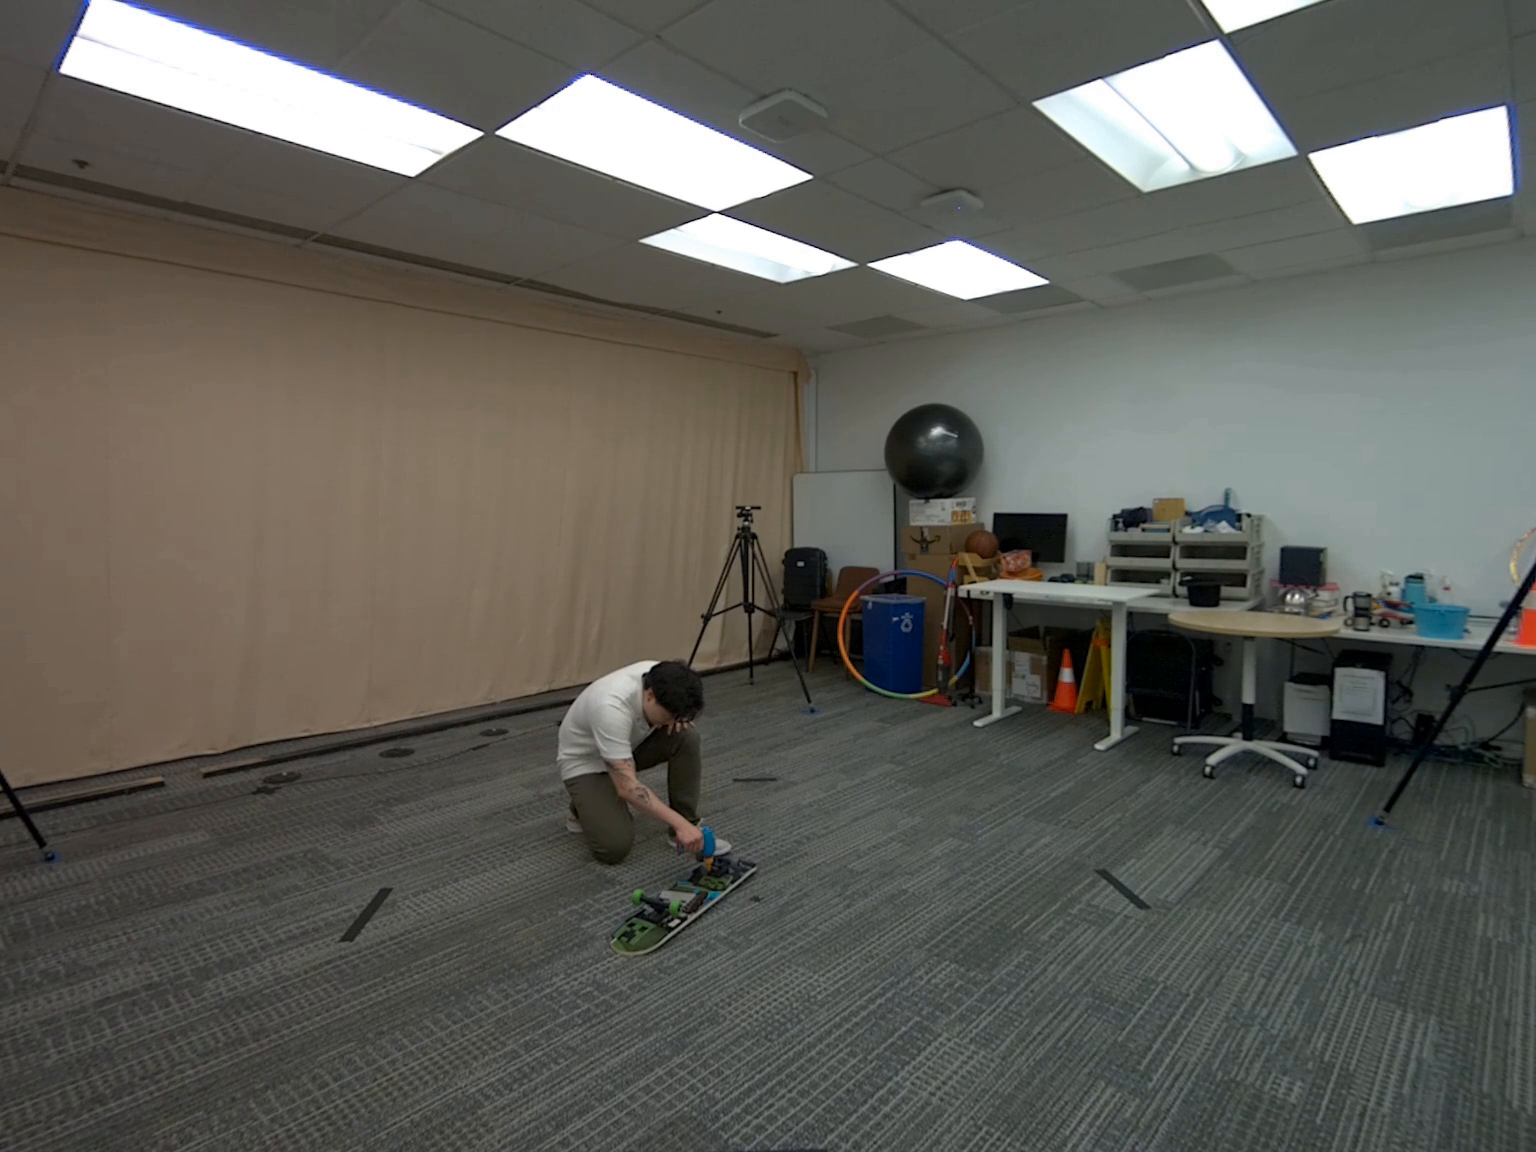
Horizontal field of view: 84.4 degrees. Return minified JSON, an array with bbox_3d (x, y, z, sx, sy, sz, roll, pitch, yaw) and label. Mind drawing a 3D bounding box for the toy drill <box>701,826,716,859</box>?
[{"bbox_3d":[-0.252,1.009,3.092,0.145,0.168,0.062,-4,13,-5],"label":"toy drill"}]
